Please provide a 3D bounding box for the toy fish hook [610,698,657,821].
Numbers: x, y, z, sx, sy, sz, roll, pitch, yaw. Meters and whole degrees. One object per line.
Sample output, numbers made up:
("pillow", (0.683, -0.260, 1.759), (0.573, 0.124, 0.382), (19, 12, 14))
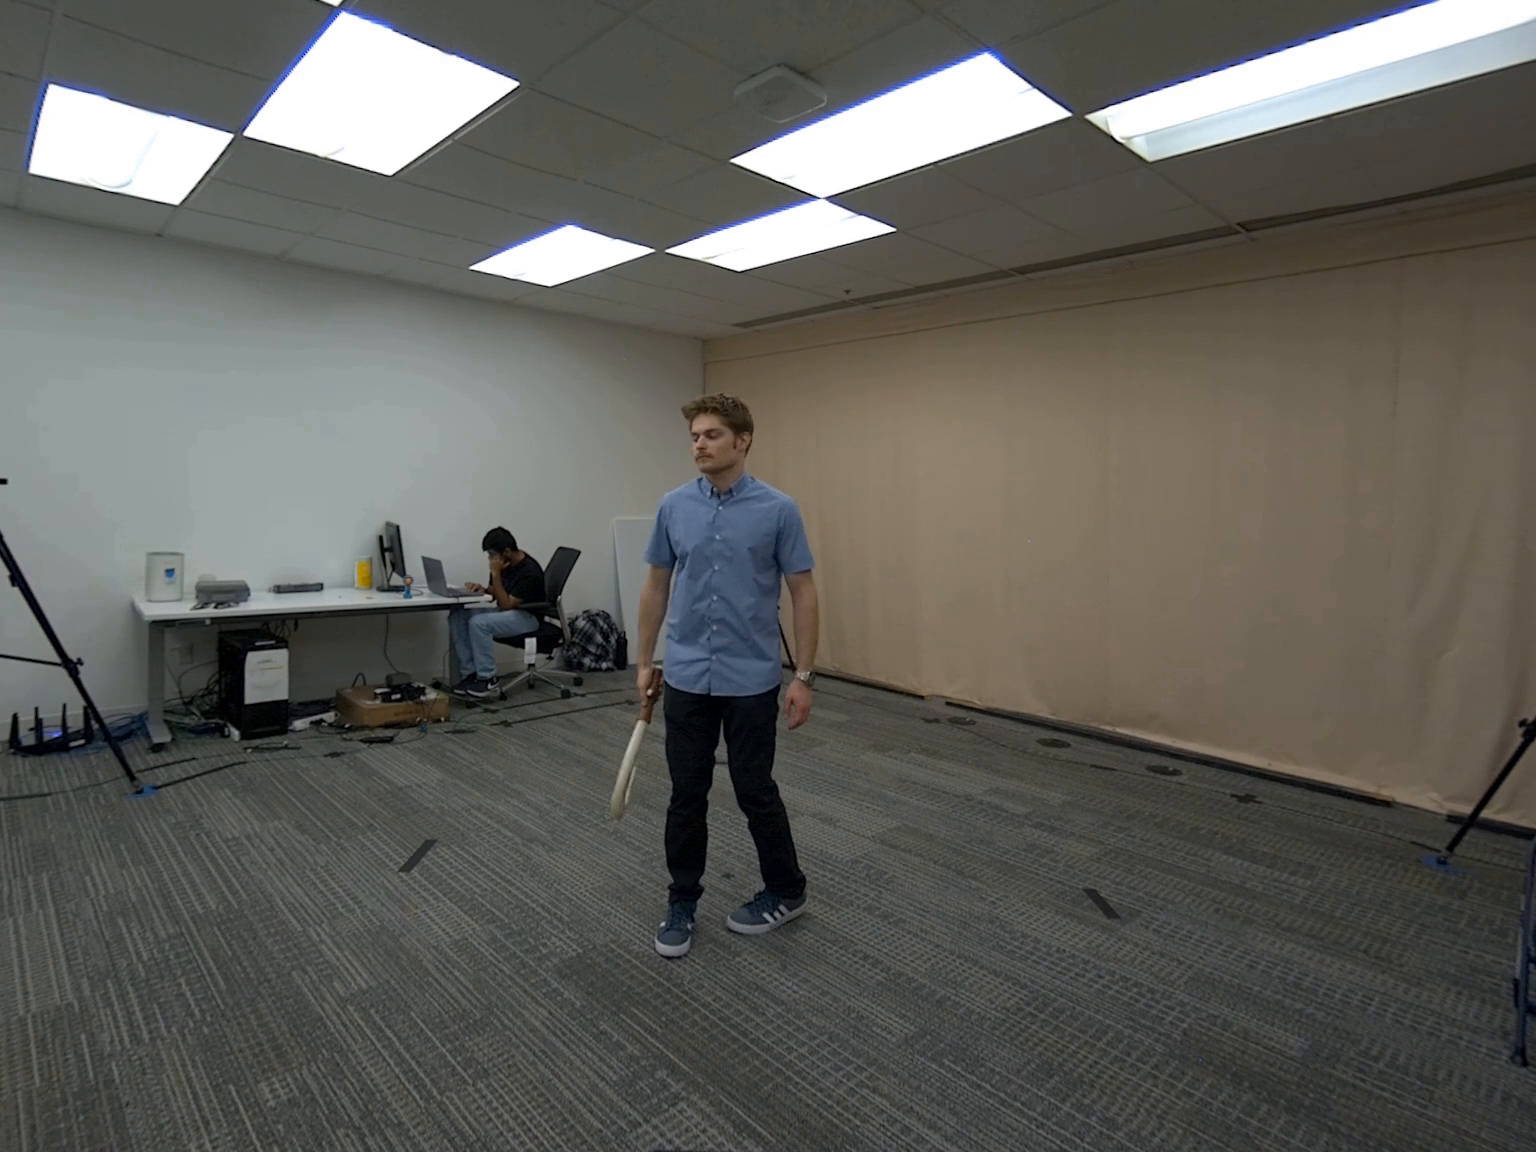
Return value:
("toy fish hook", (-0.426, 0.535, 2.735), (0.048, 0.513, 0.221), (16, -30, 0))
